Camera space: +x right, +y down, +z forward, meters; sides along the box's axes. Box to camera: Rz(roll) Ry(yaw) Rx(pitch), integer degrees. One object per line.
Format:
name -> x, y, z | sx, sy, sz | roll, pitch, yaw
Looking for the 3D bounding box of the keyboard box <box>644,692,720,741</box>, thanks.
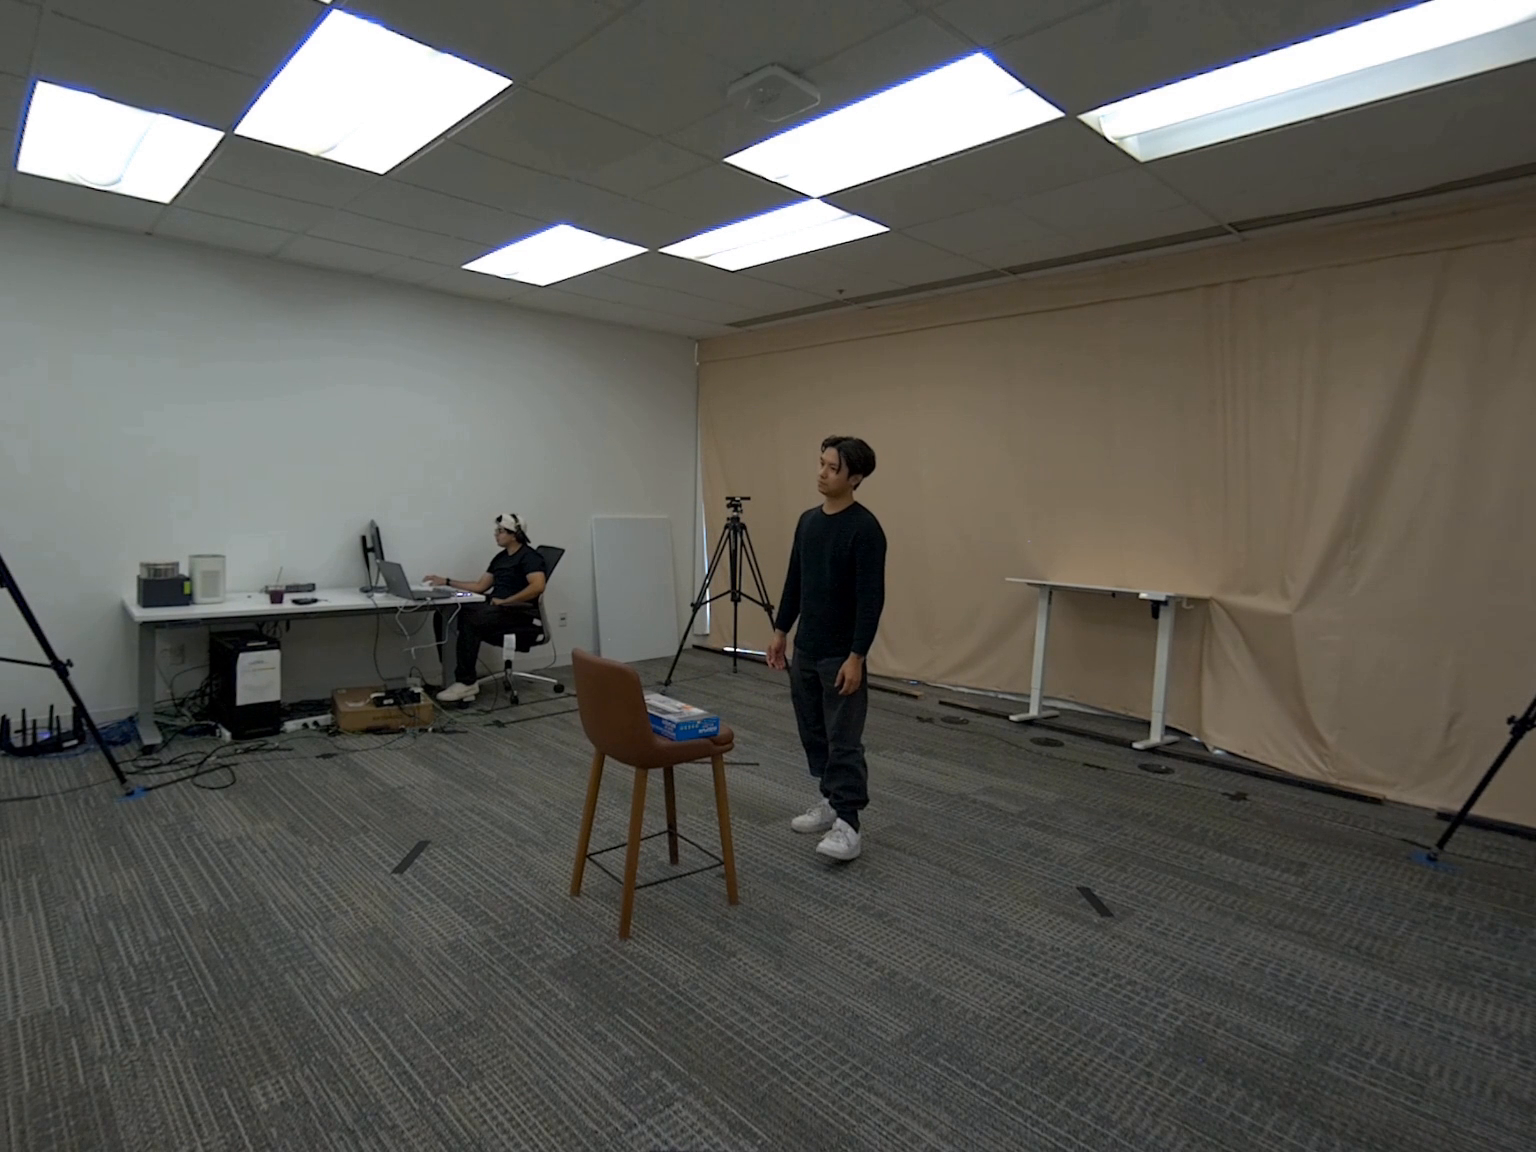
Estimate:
keyboard box -> -0.371, 0.474, 2.901 | 0.172, 0.059, 0.448 | -2, 6, -39
